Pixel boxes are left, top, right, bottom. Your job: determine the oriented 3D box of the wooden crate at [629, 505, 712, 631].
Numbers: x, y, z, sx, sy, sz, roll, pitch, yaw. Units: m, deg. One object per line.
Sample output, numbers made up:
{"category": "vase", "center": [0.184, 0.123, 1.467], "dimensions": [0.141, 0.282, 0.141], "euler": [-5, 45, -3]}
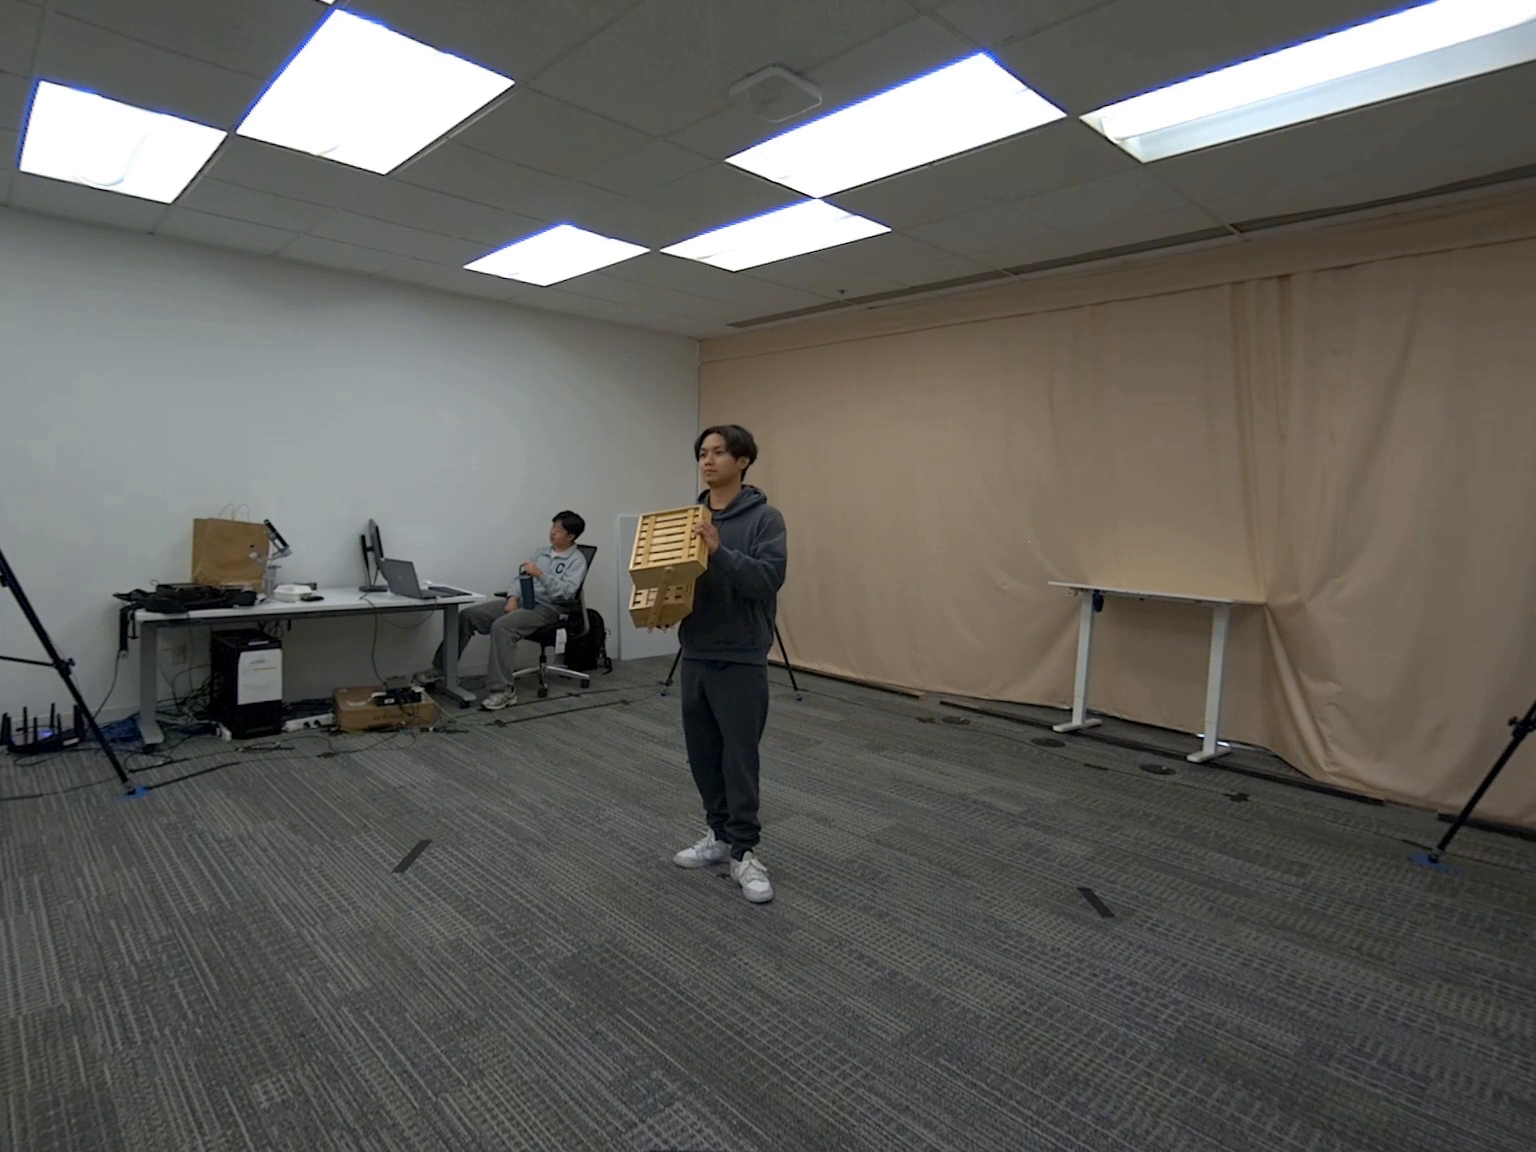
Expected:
{"category": "wooden crate", "center": [-0.335, -0.030, 2.900], "dimensions": [0.304, 0.266, 0.331], "euler": [-9, 39, 9]}
